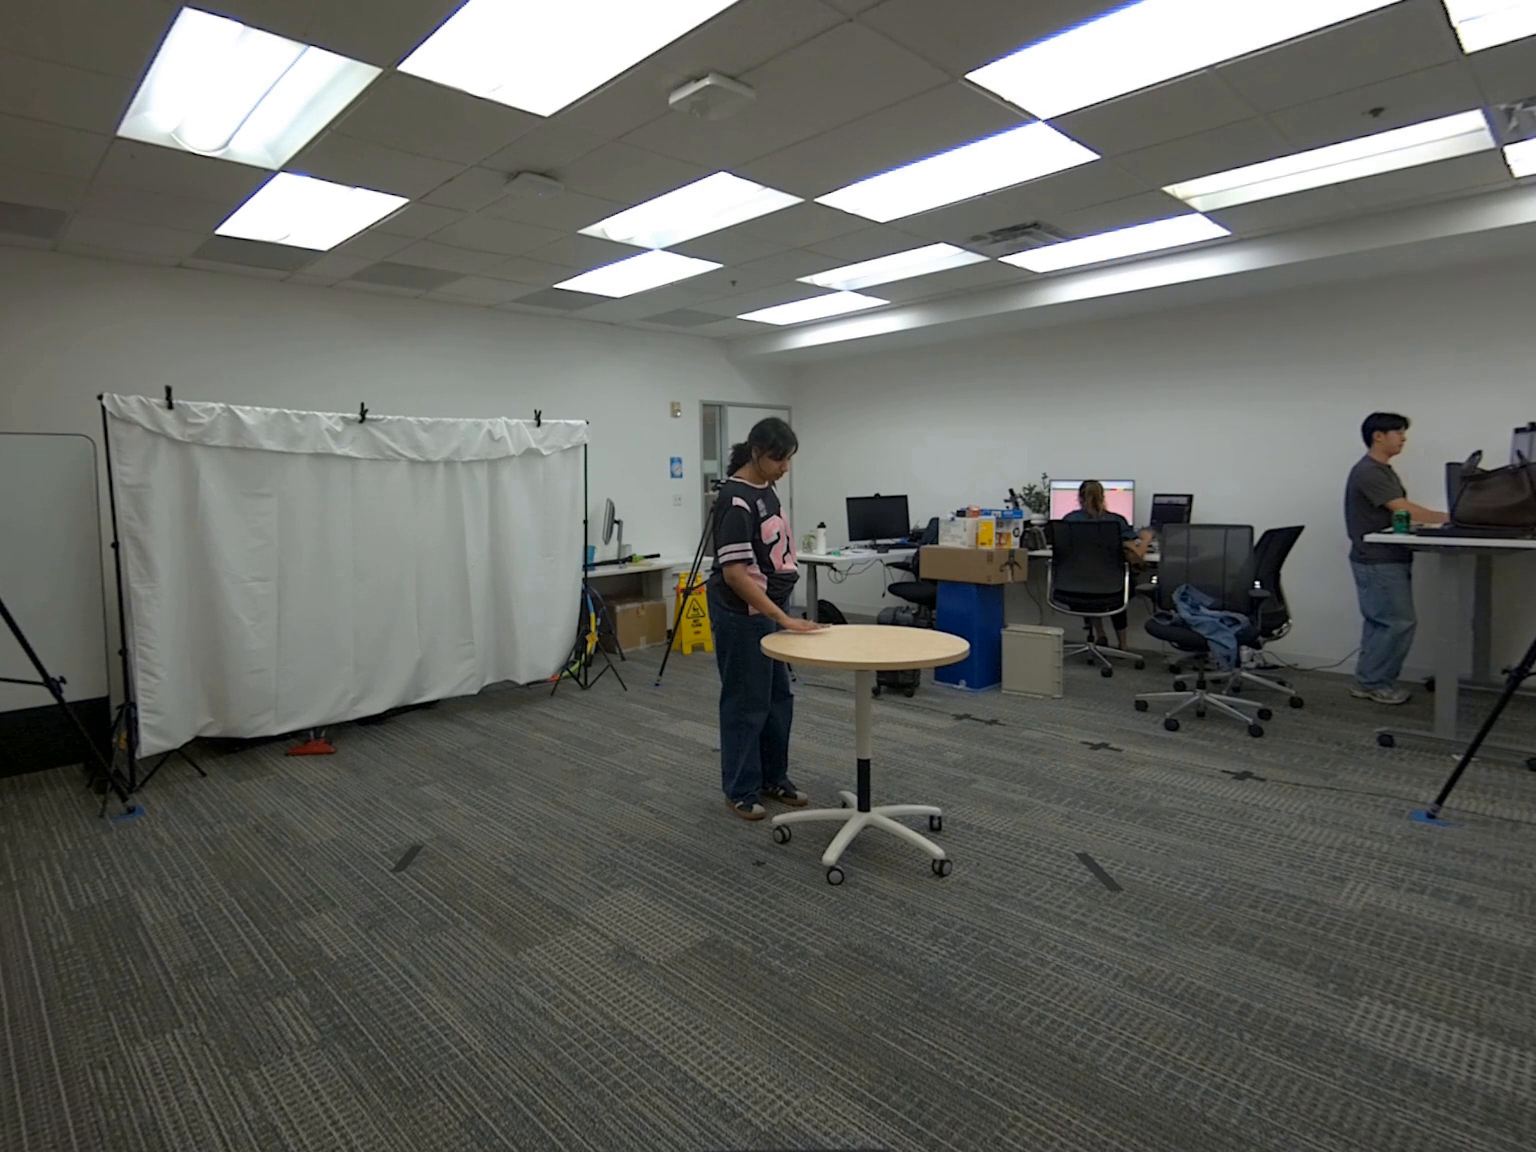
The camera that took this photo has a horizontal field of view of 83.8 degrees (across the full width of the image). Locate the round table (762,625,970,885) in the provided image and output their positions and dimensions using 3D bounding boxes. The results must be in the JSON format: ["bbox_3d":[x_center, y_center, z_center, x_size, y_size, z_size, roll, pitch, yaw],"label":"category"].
[{"bbox_3d":[0.366,0.633,3.226,0.784,0.783,0.789,-1,5,-2],"label":"round table"}]
